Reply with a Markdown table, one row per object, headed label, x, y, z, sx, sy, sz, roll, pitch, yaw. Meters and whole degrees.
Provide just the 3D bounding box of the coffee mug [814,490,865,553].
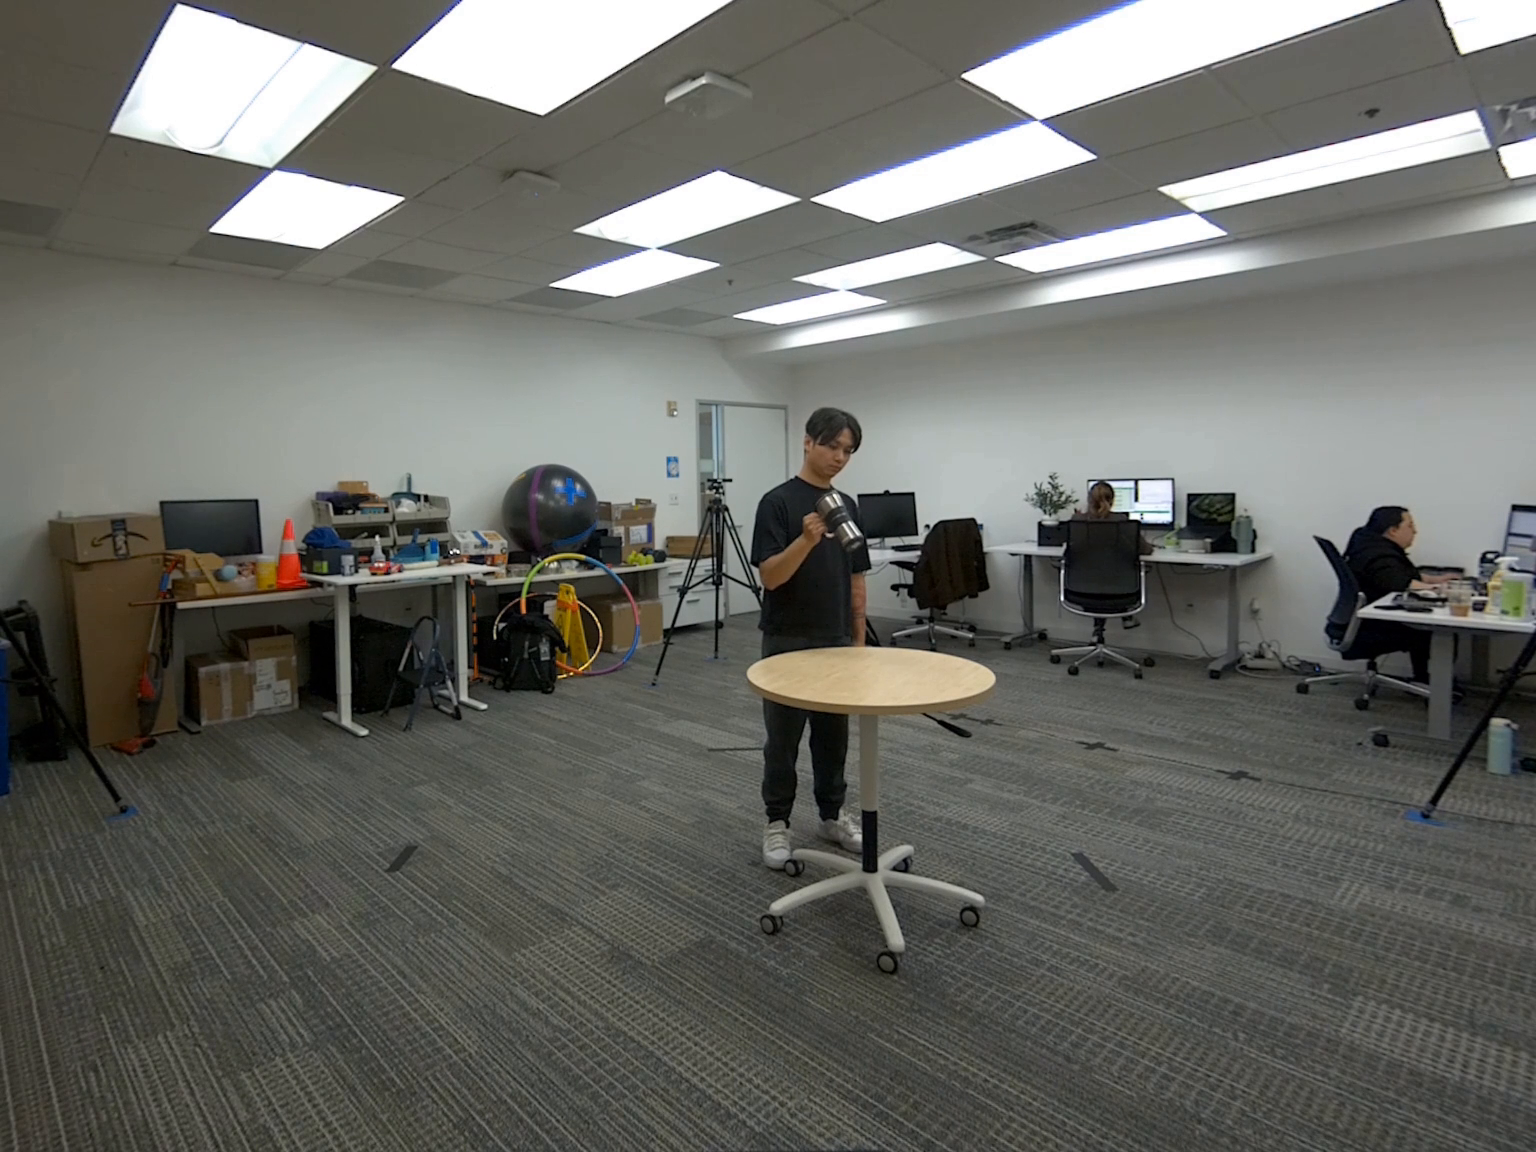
| label | x | y | z | sx | sy | sz | roll | pitch | yaw |
| --- | --- | --- | --- | --- | --- | --- | --- | --- | --- |
| coffee mug | 0.231 | -0.160 | 2.785 | 0.087 | 0.209 | 0.120 | -21 | -24 | -17 |
